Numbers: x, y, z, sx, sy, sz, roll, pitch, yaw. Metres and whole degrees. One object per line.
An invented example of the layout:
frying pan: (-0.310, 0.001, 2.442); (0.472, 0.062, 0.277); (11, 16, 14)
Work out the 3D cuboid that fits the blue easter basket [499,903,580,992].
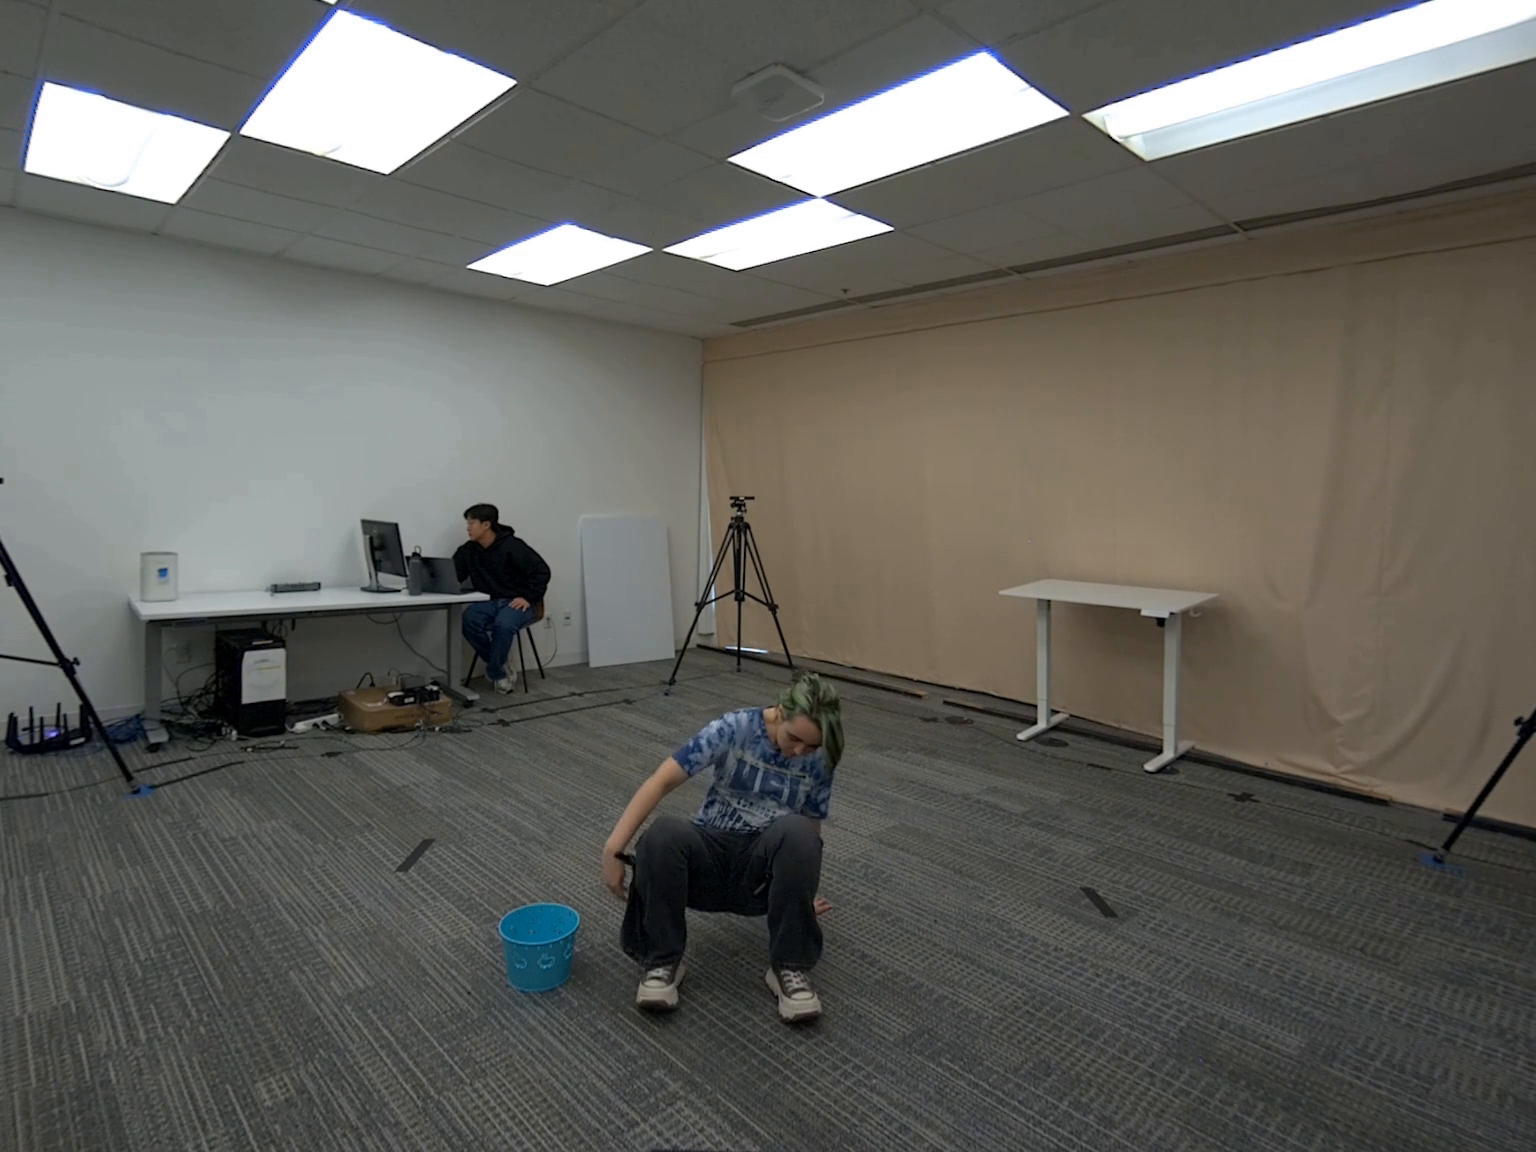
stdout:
blue easter basket: (-0.658, 1.070, 2.443); (0.243, 0.155, 0.244); (1, 5, -1)
